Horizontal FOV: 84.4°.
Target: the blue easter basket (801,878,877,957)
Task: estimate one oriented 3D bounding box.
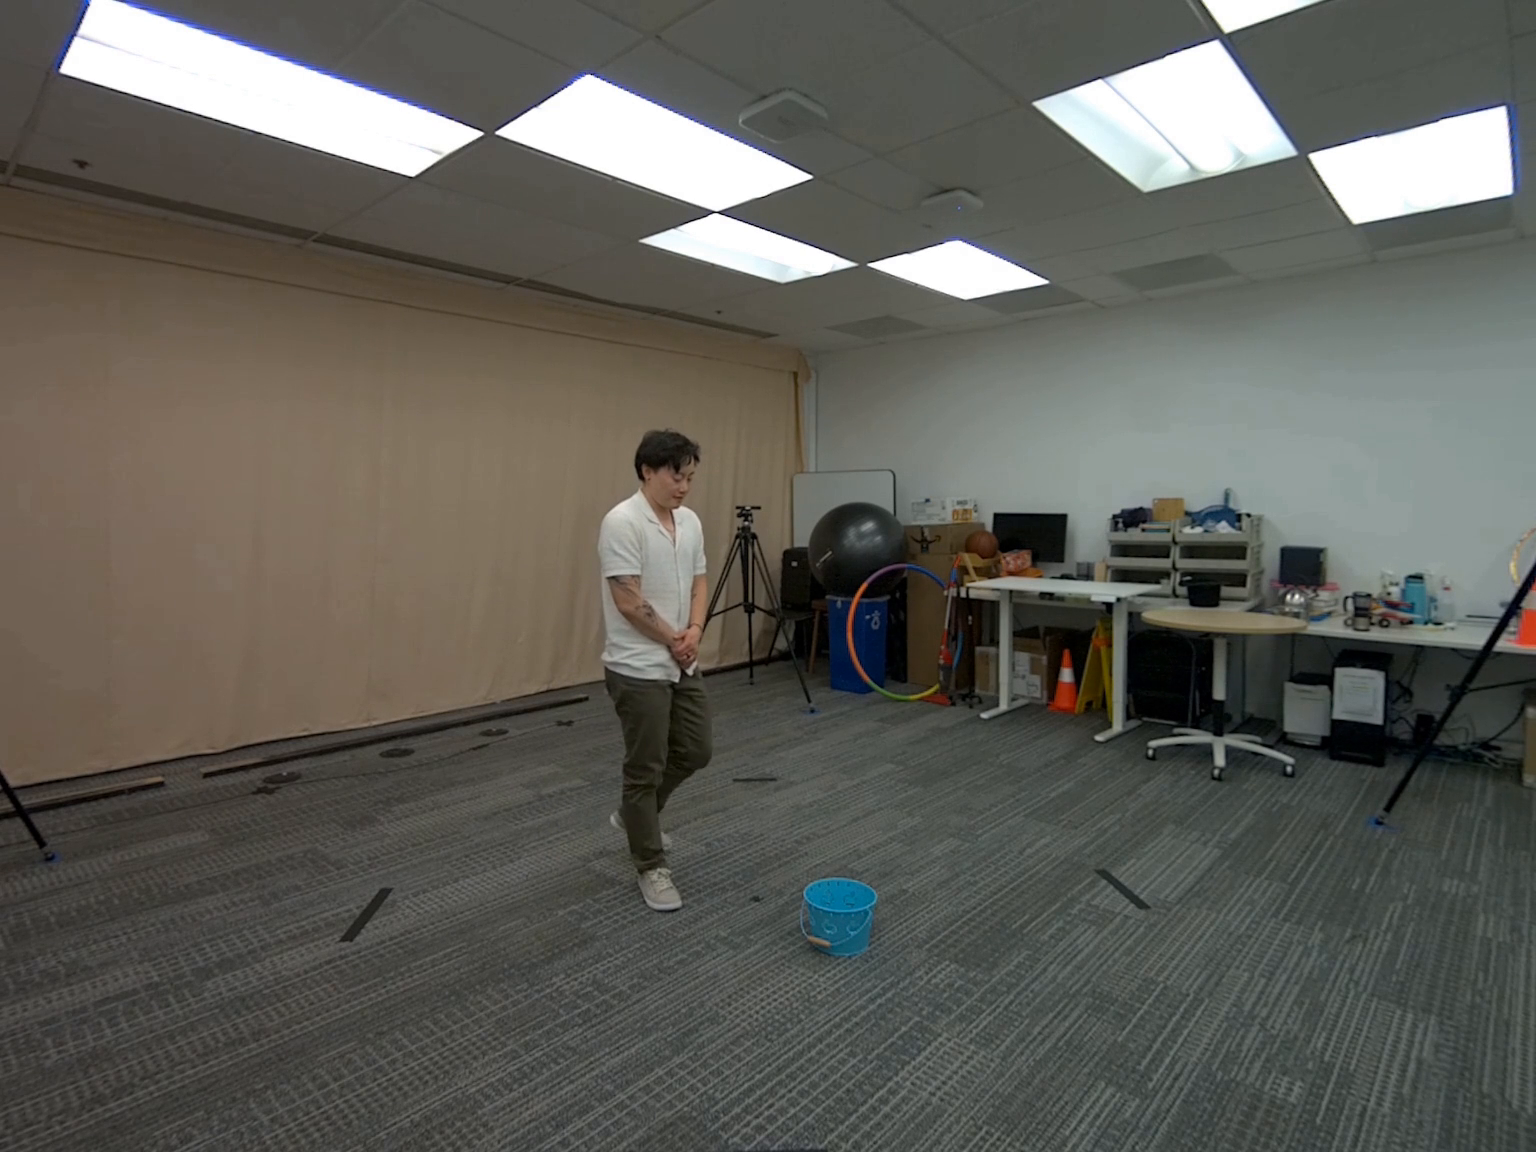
[{"bbox_3d":[0.231,1.088,2.690,0.243,0.155,0.244,0,4,-2],"label":"blue easter basket"}]
